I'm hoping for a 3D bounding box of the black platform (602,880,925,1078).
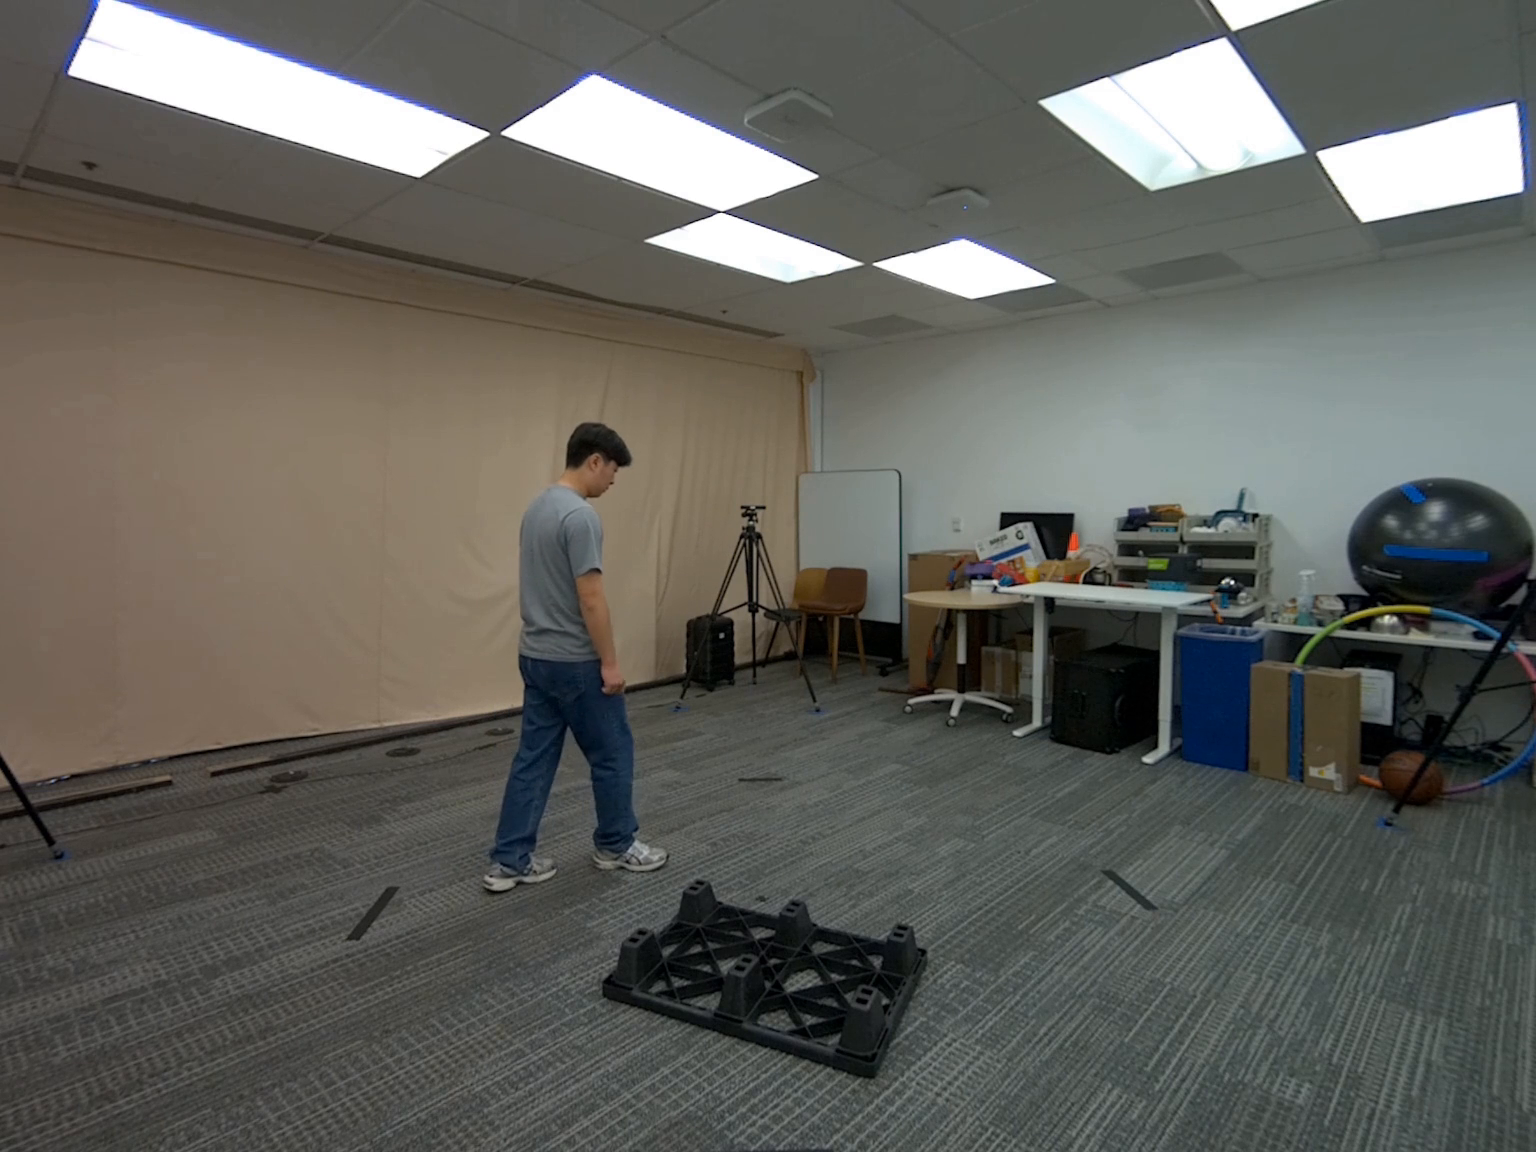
[{"bbox_3d":[0.005,1.120,2.472,0.826,0.143,0.591,2,5,25],"label":"black platform"}]
